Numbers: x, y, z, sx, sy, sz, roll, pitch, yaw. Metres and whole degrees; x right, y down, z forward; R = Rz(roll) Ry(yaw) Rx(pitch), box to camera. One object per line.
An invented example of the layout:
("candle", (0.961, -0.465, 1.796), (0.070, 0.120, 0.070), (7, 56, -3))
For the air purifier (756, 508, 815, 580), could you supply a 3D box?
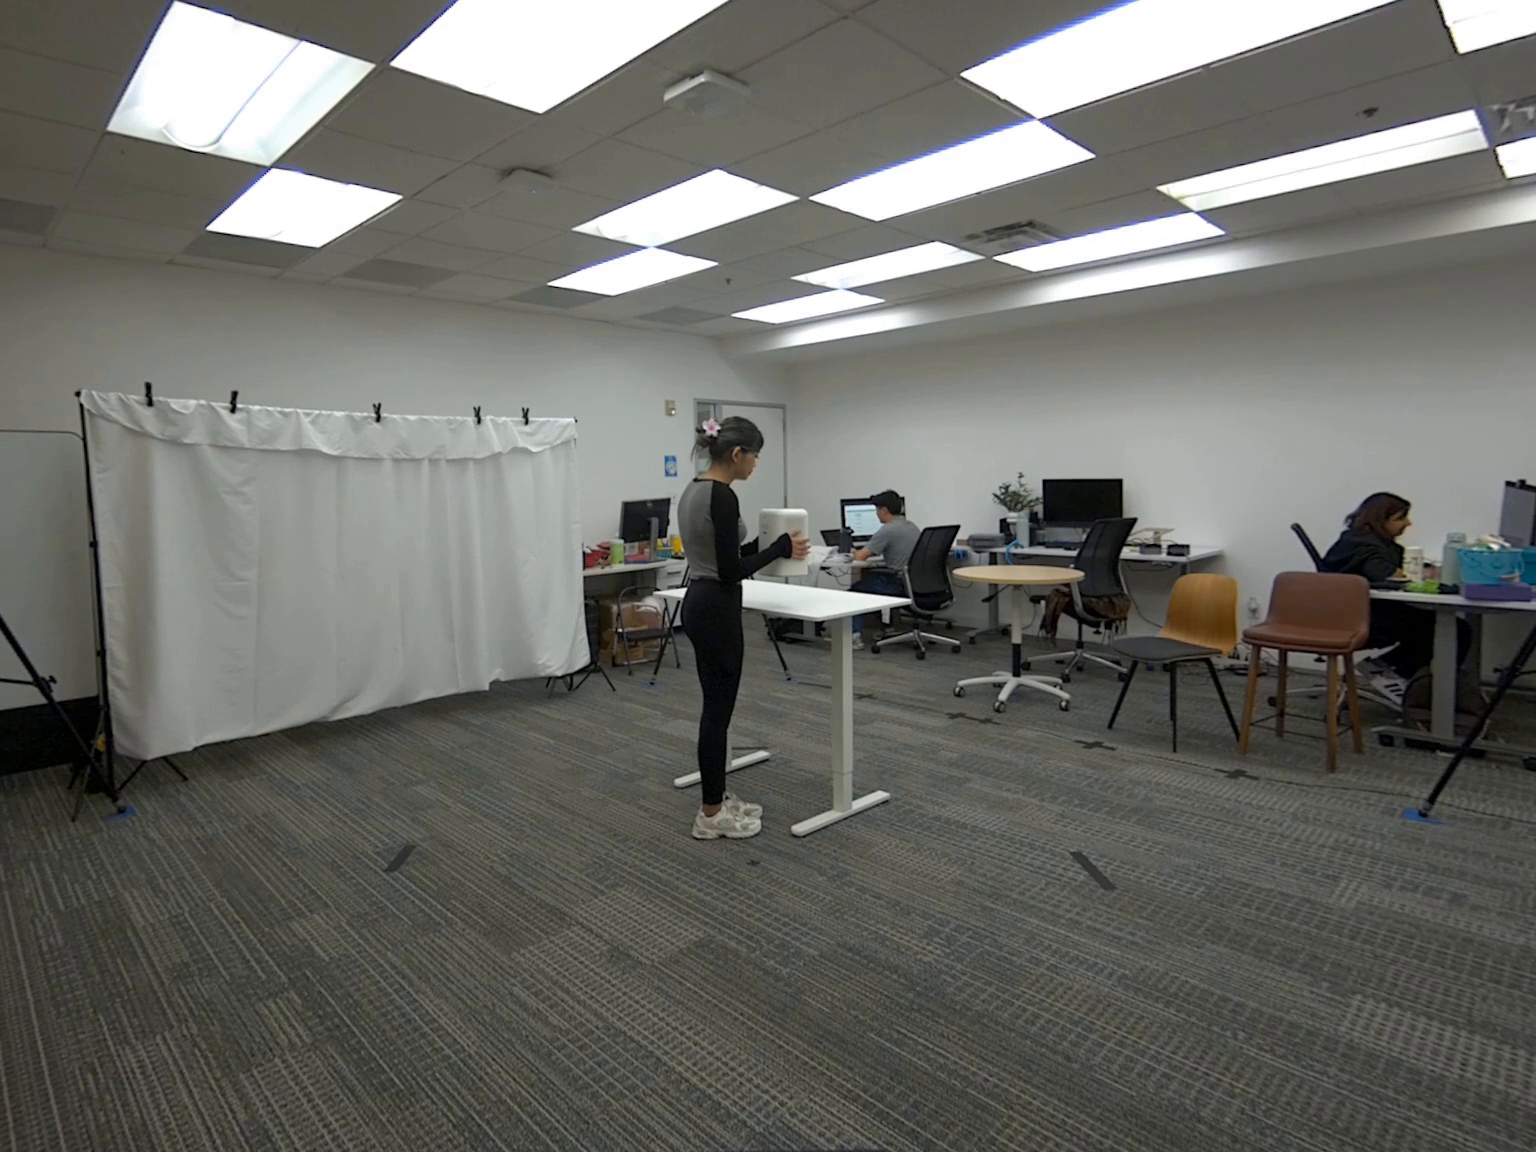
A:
("air purifier", (0.053, -0.137, 3.403), (0.167, 0.264, 0.176), (-1, 5, -29))
